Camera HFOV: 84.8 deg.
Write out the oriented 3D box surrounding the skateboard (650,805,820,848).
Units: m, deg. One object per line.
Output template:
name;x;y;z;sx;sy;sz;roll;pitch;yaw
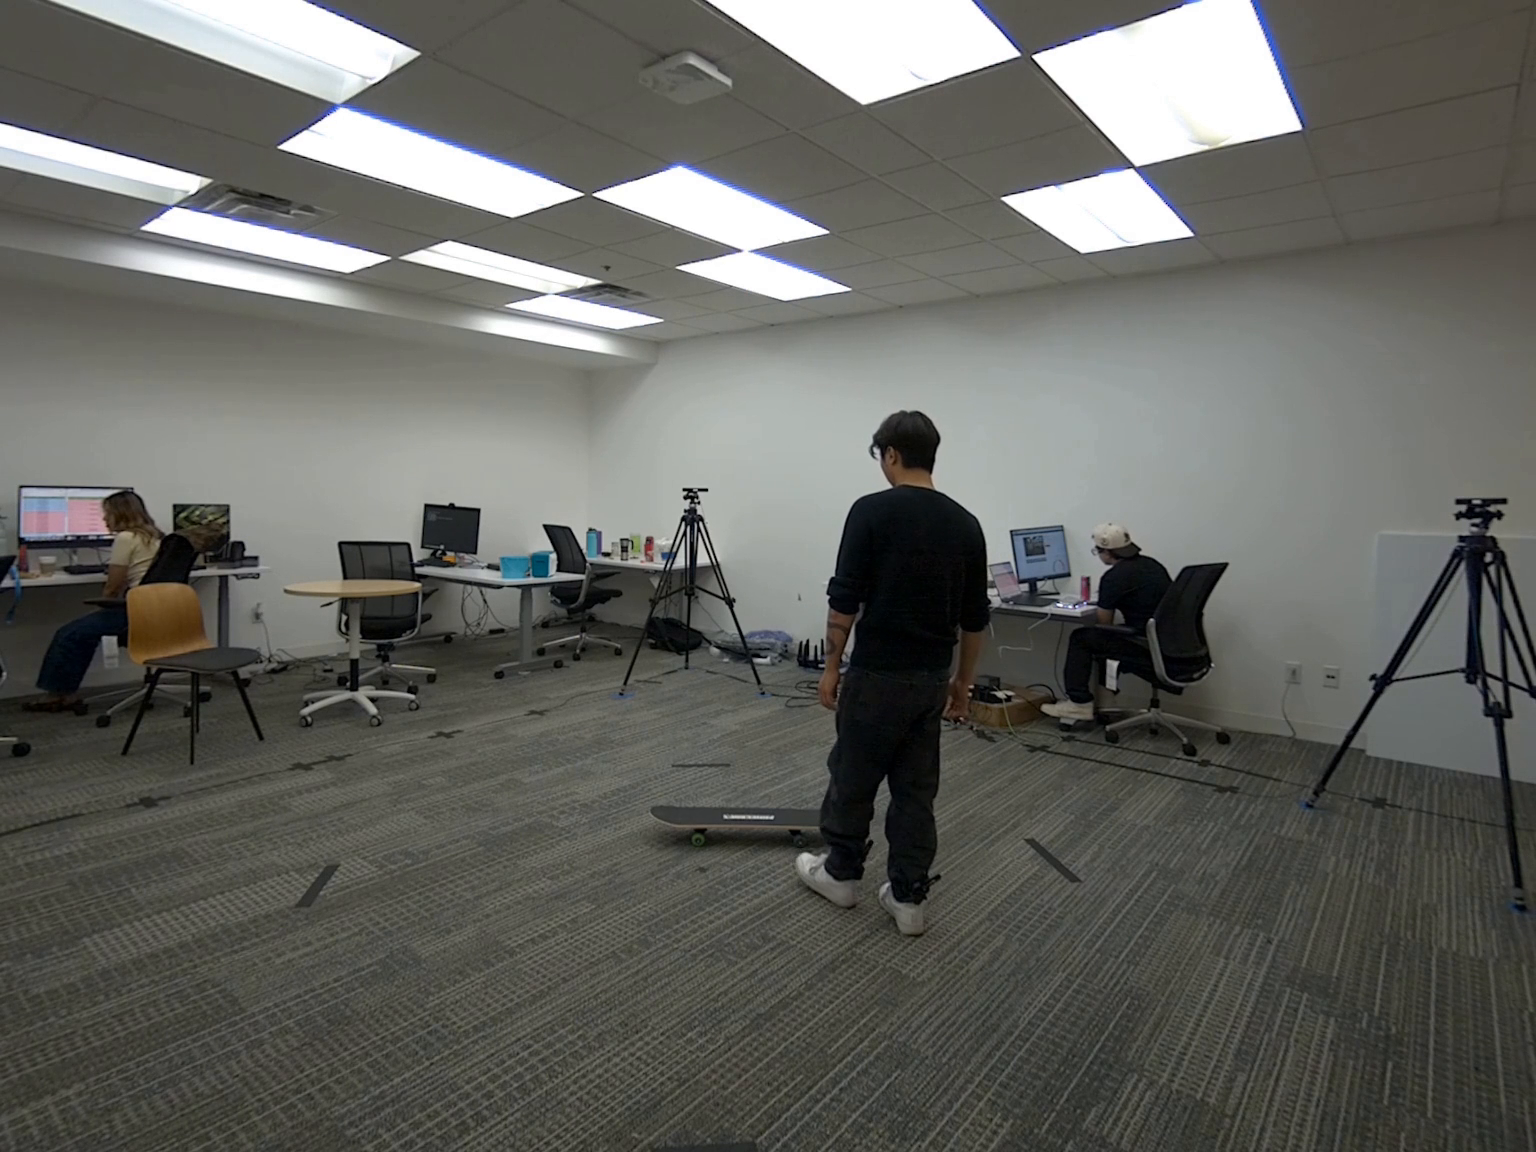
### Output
skateboard;-0.092;0.987;3.395;0.783;0.110;0.195;1;4;-3
